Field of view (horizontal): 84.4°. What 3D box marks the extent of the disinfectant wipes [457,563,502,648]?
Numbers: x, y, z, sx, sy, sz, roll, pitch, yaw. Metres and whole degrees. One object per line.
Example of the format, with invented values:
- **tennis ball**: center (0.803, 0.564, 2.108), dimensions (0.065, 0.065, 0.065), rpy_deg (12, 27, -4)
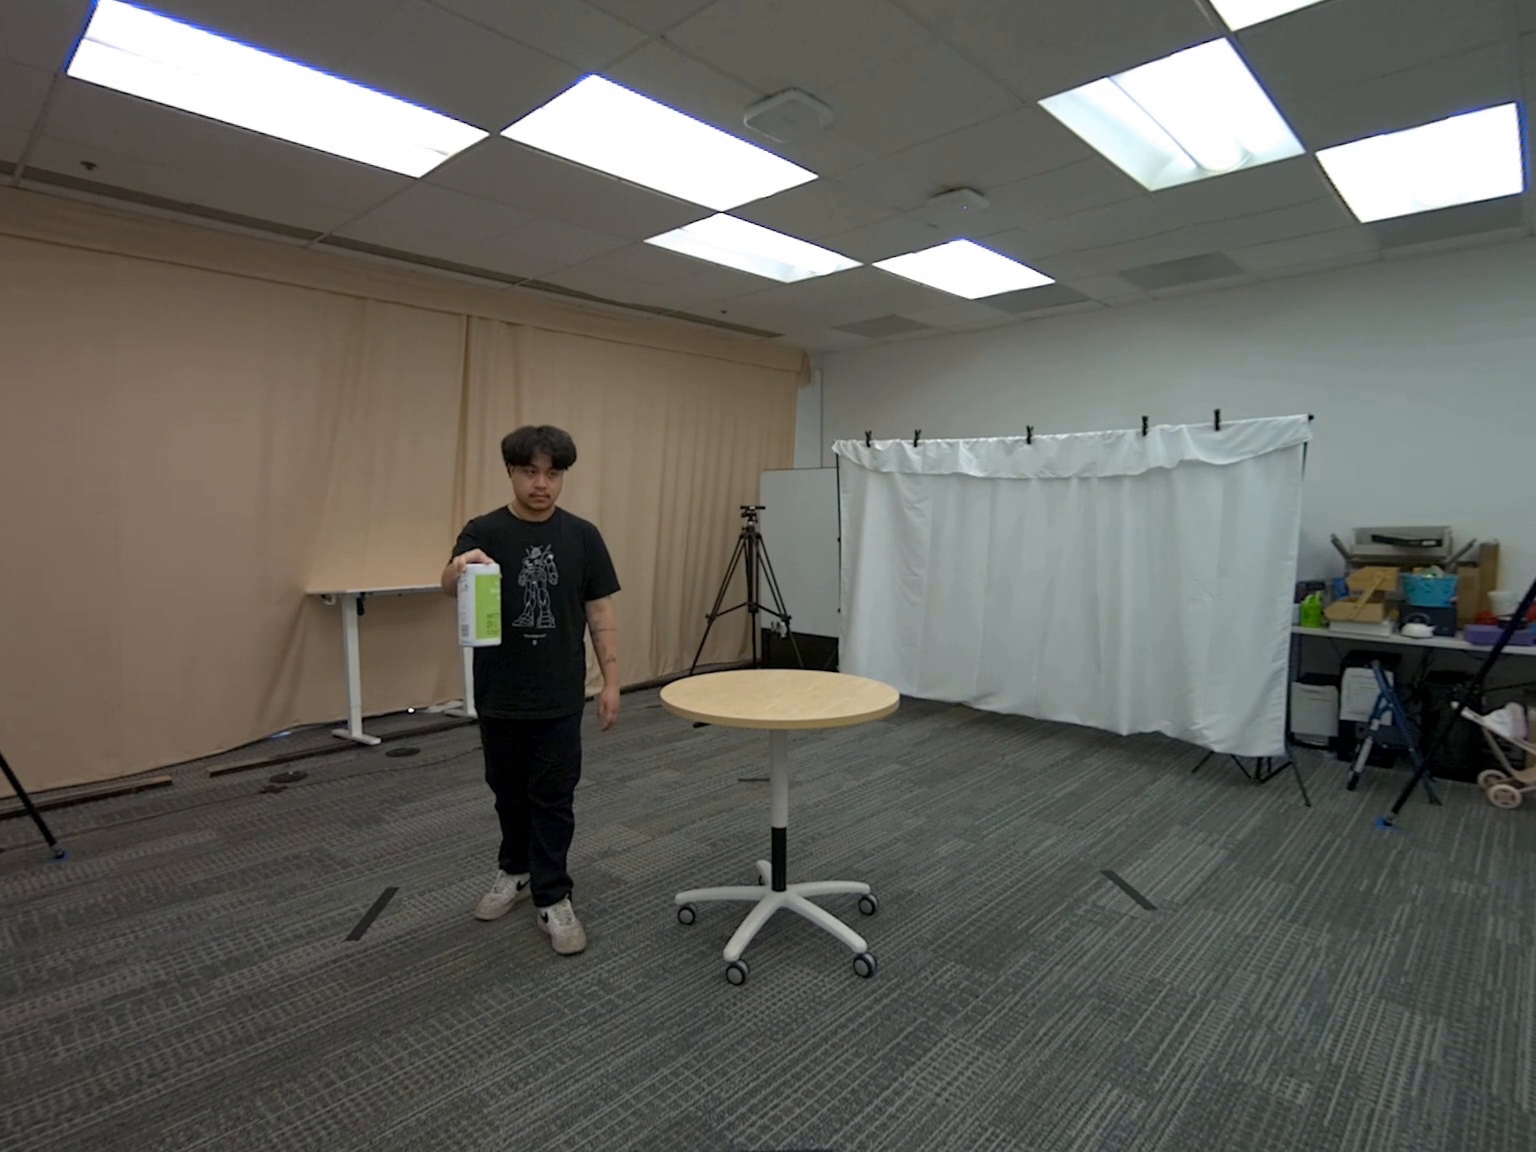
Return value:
- **disinfectant wipes**: center (-0.763, 0.079, 2.223), dimensions (0.117, 0.218, 0.118), rpy_deg (-2, -2, -2)
